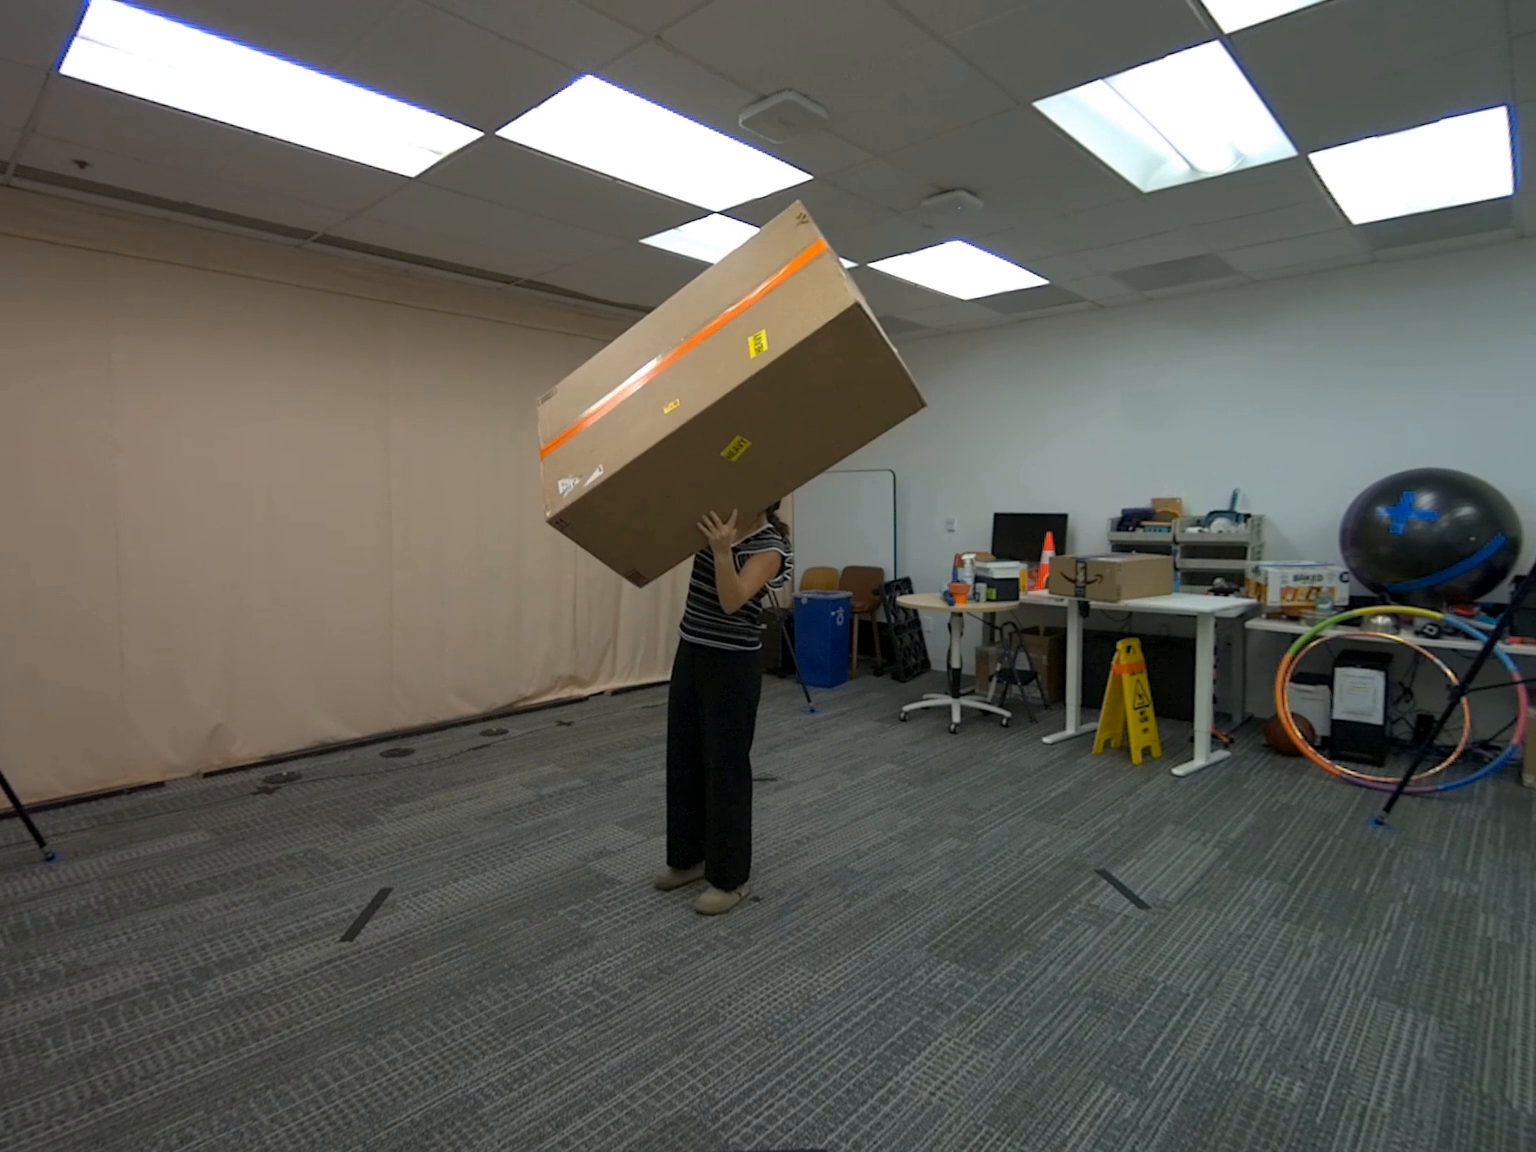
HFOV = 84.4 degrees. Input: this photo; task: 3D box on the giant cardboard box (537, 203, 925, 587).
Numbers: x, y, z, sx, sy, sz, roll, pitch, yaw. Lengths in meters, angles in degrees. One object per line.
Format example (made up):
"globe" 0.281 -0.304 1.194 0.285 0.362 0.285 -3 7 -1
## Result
"giant cardboard box" -0.156 -0.518 2.507 1.036 0.593 0.411 -32 -44 18
